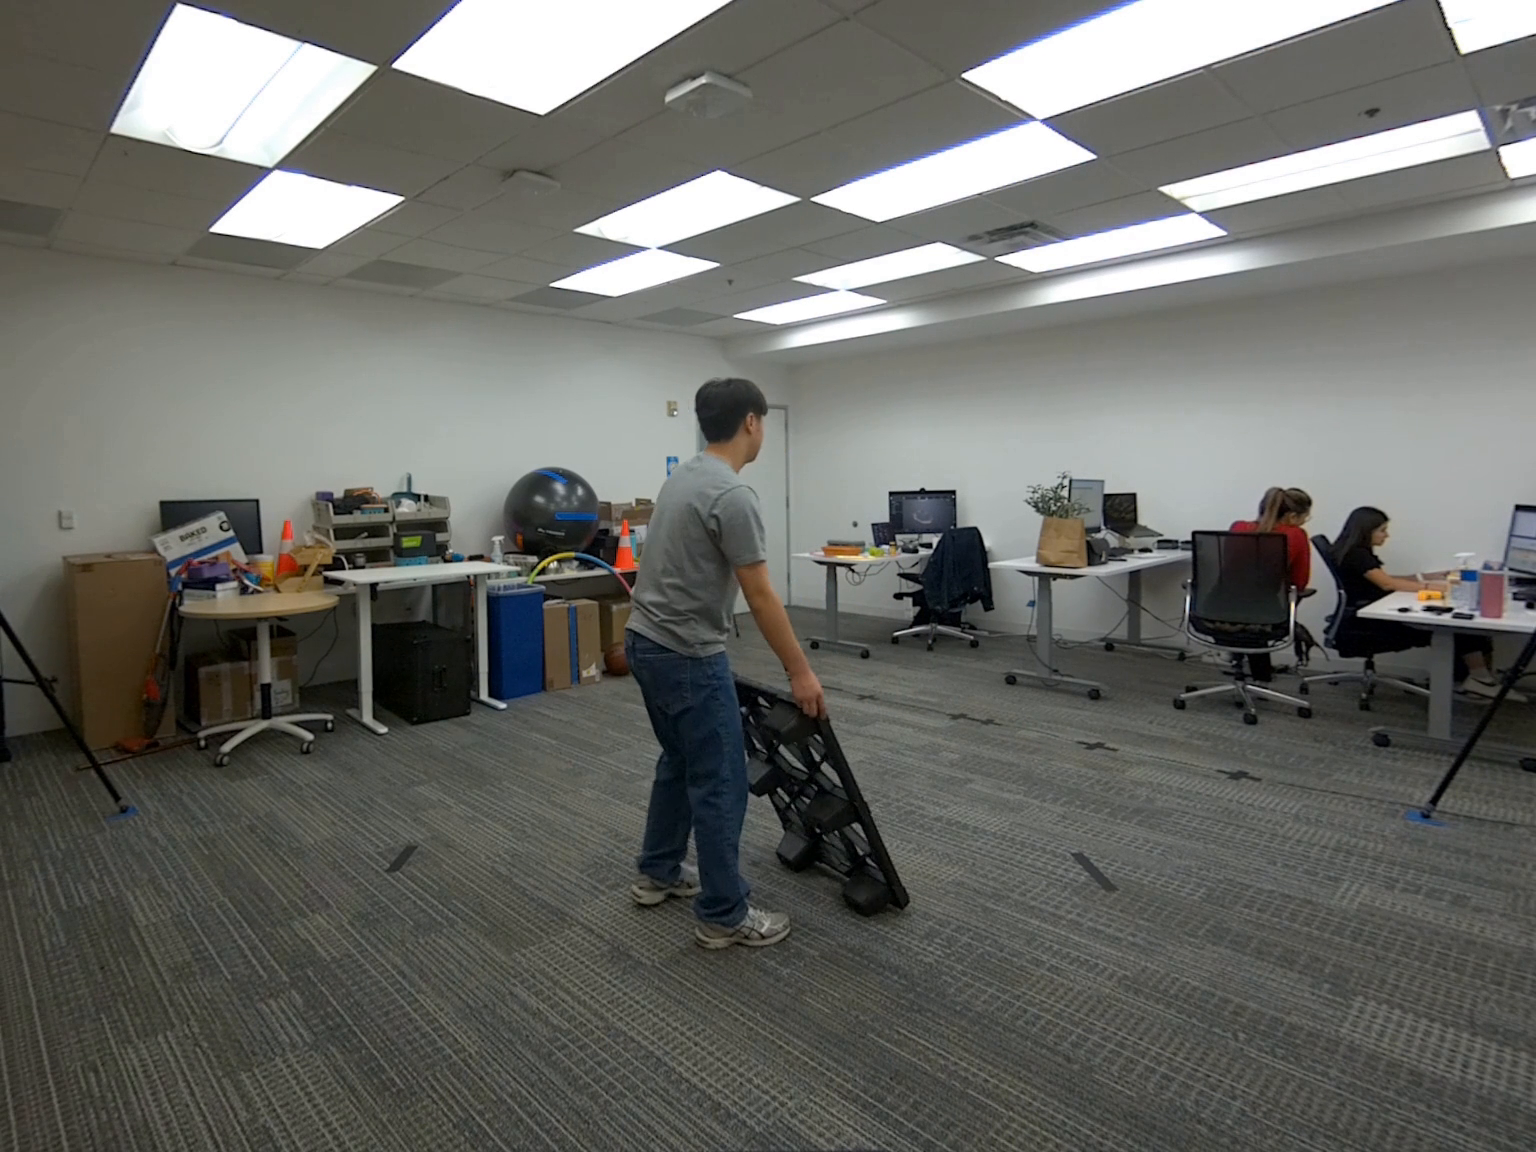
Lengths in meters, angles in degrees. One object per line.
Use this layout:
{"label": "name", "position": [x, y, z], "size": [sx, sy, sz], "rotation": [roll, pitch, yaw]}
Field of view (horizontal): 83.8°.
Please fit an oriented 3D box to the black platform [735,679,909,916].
{"label": "black platform", "position": [0.092, 0.717, 2.844], "size": [0.142, 0.789, 0.623], "rotation": [-32, 20, -26]}
